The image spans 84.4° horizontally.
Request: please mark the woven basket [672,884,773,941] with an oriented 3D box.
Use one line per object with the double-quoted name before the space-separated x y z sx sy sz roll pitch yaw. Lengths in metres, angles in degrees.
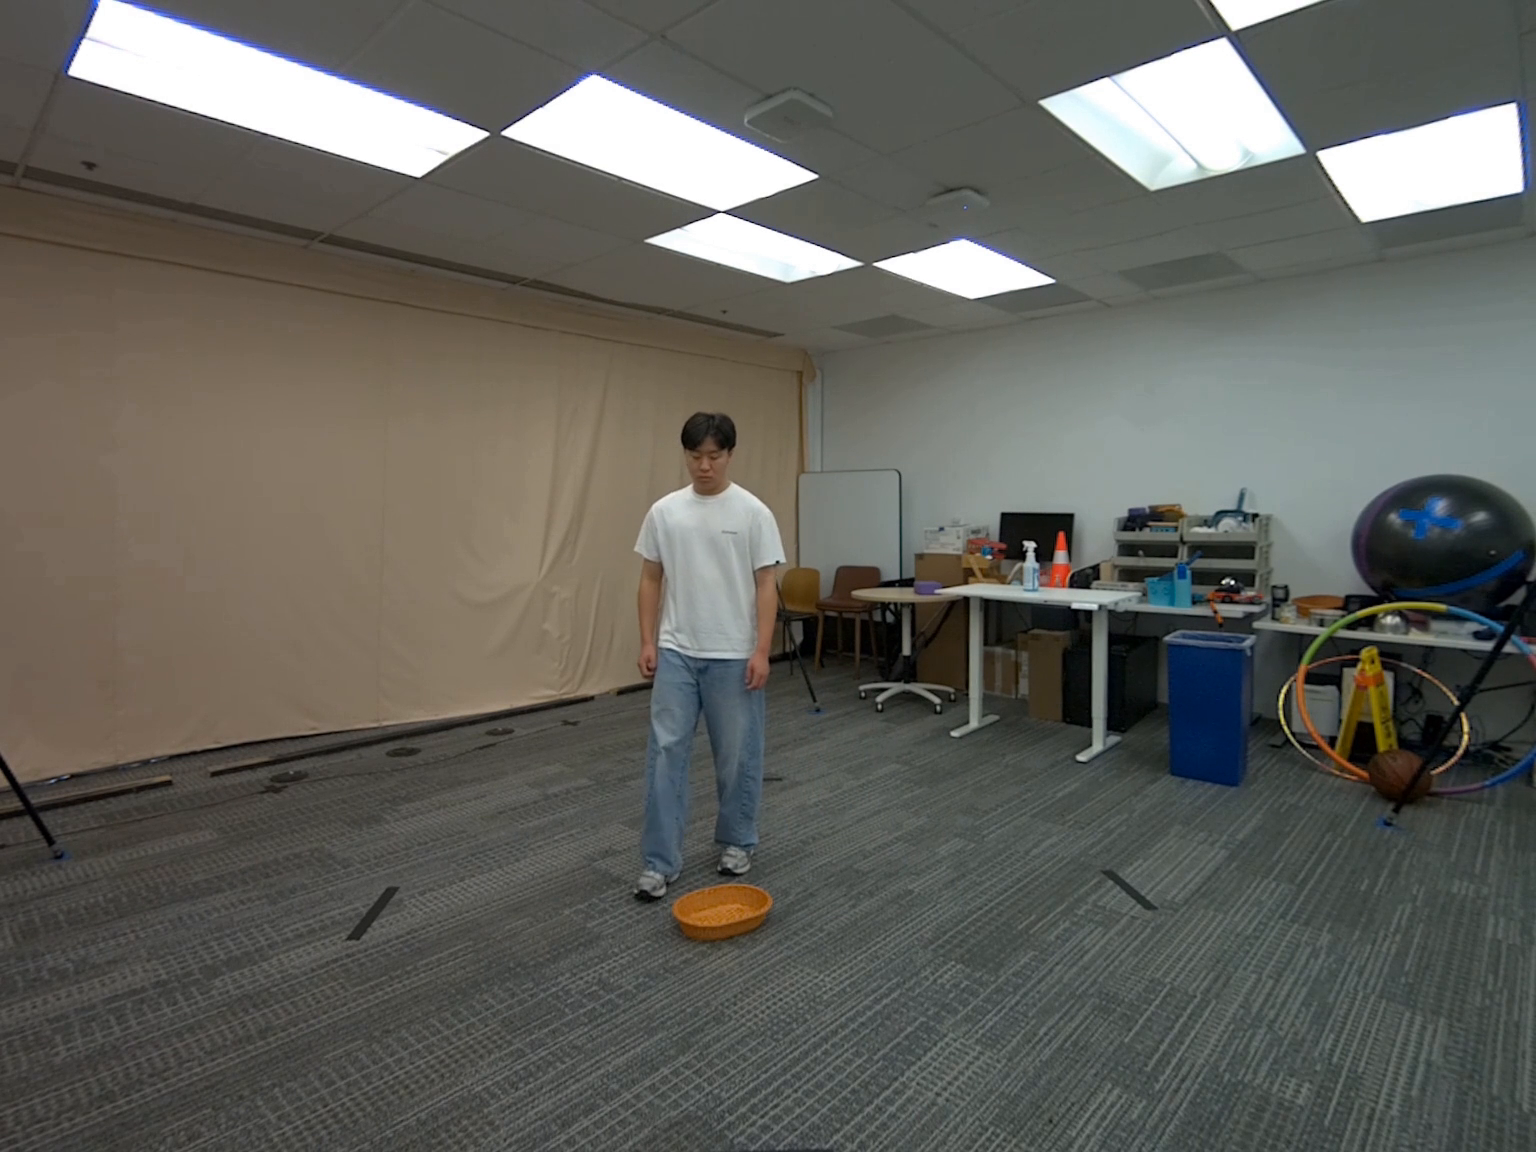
"woven basket" -0.145 1.119 2.803 0.342 0.073 0.259 -2 5 -26
